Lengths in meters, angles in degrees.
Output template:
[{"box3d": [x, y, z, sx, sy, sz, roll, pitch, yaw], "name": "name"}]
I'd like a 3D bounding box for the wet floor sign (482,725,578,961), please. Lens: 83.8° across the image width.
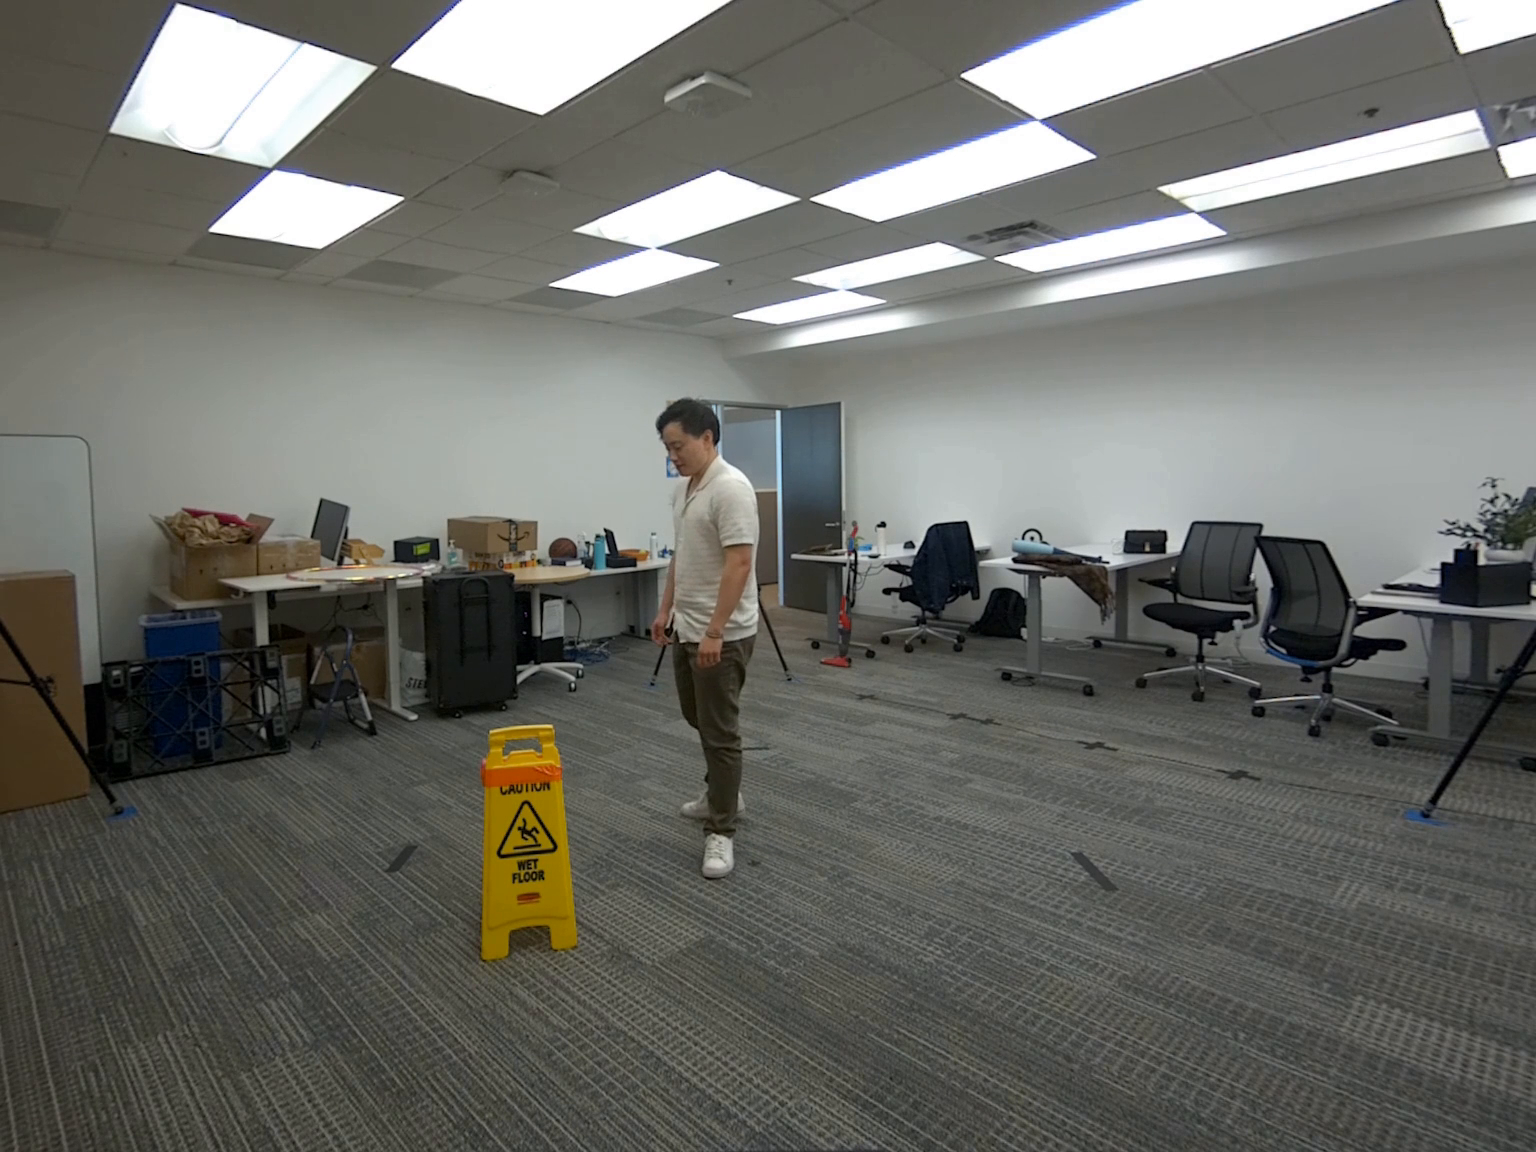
[{"box3d": [-0.754, 0.786, 2.658, 0.278, 0.643, 0.295, -3, 4, -16], "name": "wet floor sign"}]
